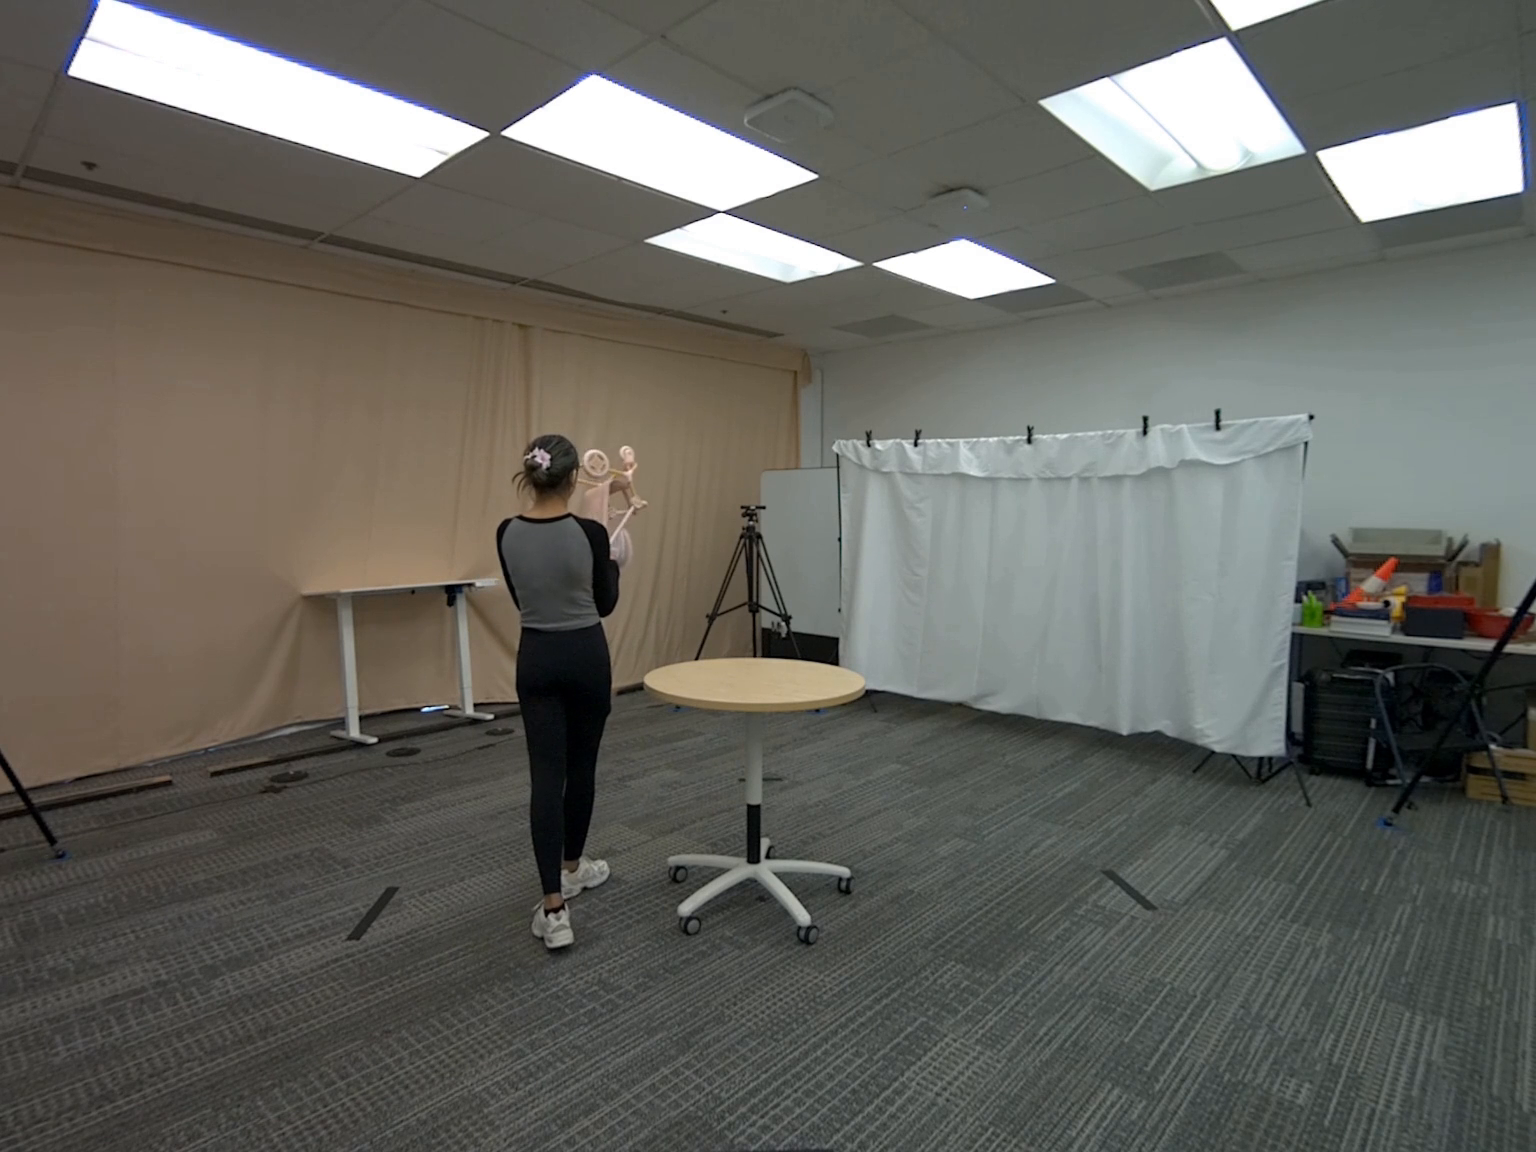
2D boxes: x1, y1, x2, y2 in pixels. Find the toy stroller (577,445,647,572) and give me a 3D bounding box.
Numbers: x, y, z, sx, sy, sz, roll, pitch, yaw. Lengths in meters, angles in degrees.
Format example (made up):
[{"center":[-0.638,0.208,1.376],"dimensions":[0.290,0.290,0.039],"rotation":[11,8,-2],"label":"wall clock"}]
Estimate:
[{"center":[-0.640,-0.259,3.343],"dimensions":[0.288,0.538,0.331],"rotation":[-17,-10,42],"label":"toy stroller"}]
